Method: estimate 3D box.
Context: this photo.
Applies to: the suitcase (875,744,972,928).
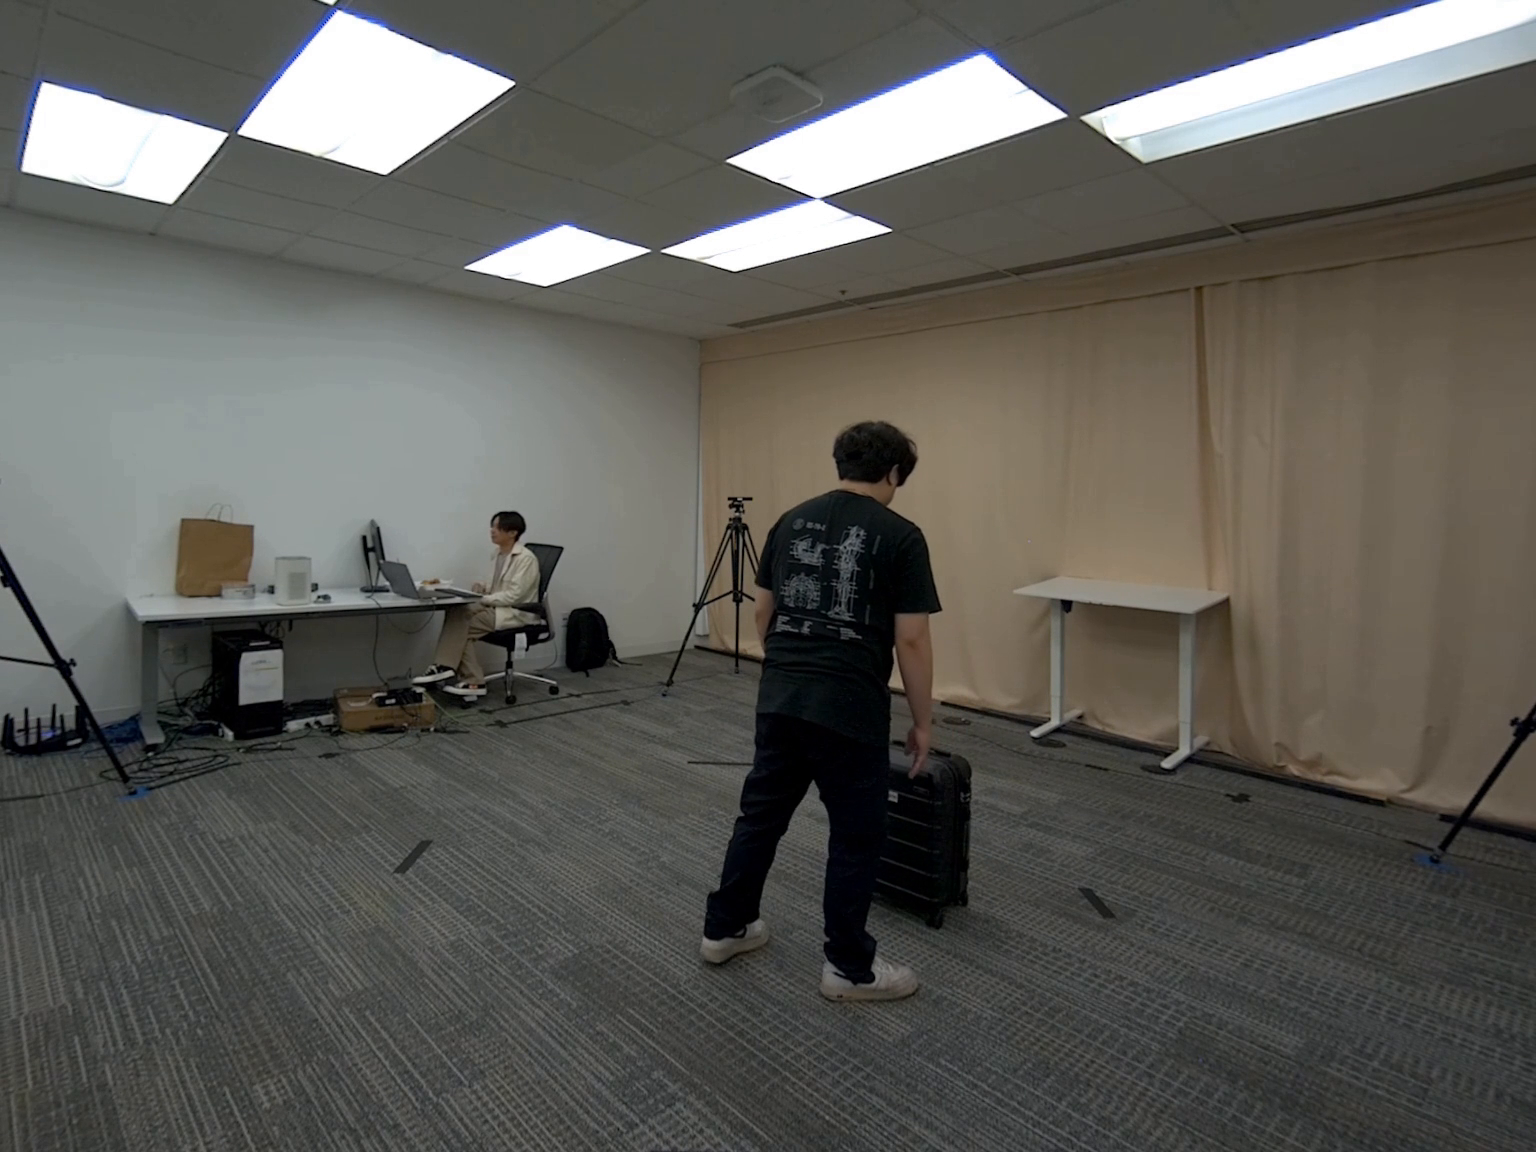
[{"bbox_3d":[0.502,0.866,2.912,0.385,0.547,0.243,6,7,41],"label":"suitcase"}]
